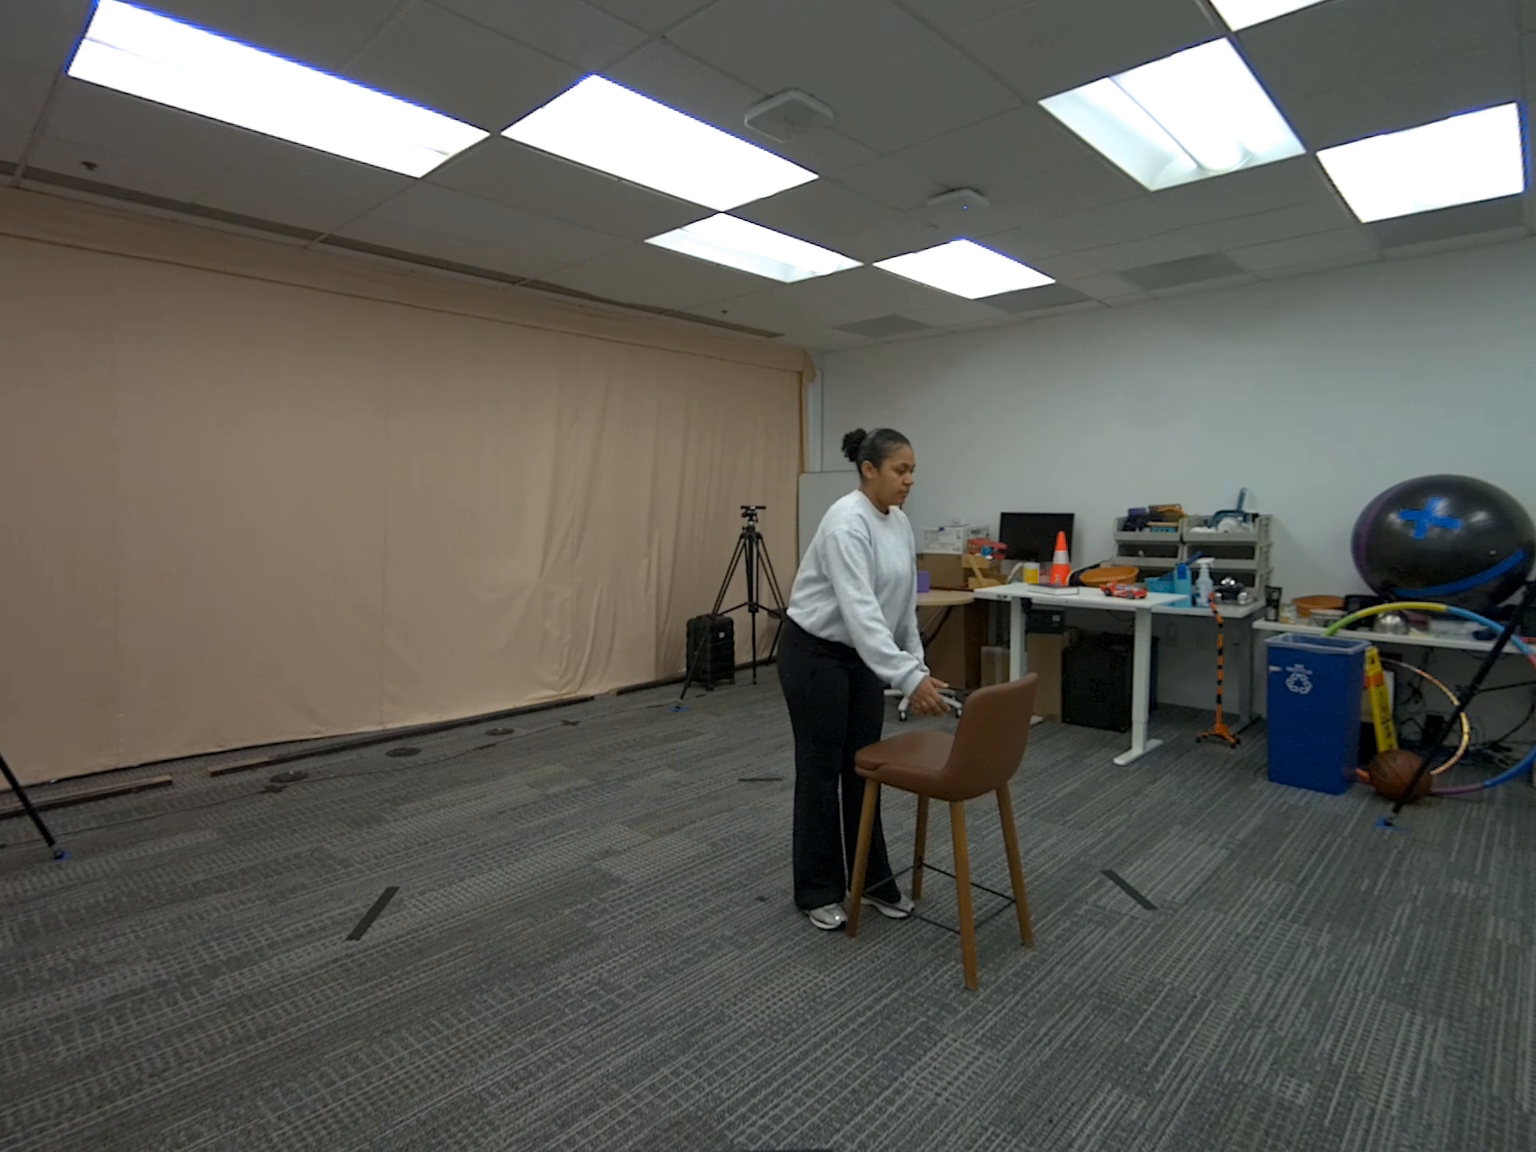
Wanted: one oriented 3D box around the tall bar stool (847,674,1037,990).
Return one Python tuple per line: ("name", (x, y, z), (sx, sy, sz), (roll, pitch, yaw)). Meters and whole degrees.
("tall bar stool", (0.562, 0.729, 2.670), (0.442, 0.887, 0.483), (-4, 7, -45))
